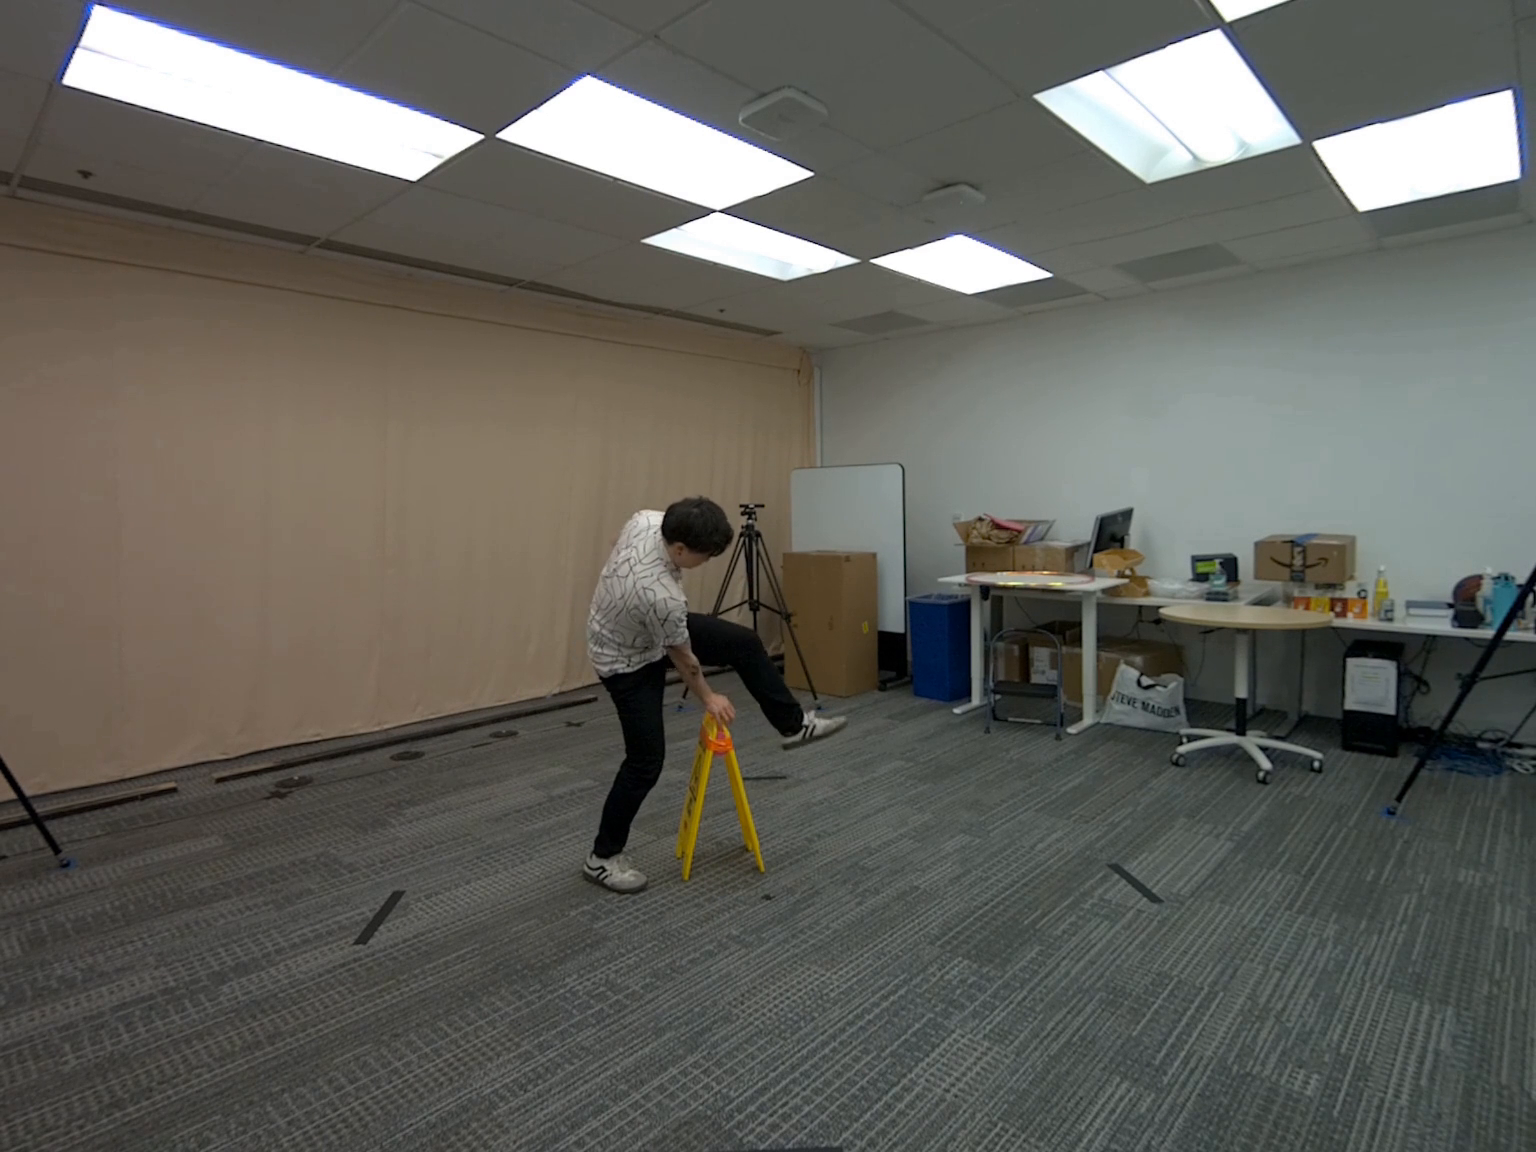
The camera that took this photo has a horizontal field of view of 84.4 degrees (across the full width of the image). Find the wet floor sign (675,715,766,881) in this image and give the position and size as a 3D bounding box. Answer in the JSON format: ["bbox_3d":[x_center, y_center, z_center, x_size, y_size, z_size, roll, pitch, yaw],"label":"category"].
[{"bbox_3d":[-0.199,0.793,3.268,0.286,0.645,0.286,-3,3,-12],"label":"wet floor sign"}]
